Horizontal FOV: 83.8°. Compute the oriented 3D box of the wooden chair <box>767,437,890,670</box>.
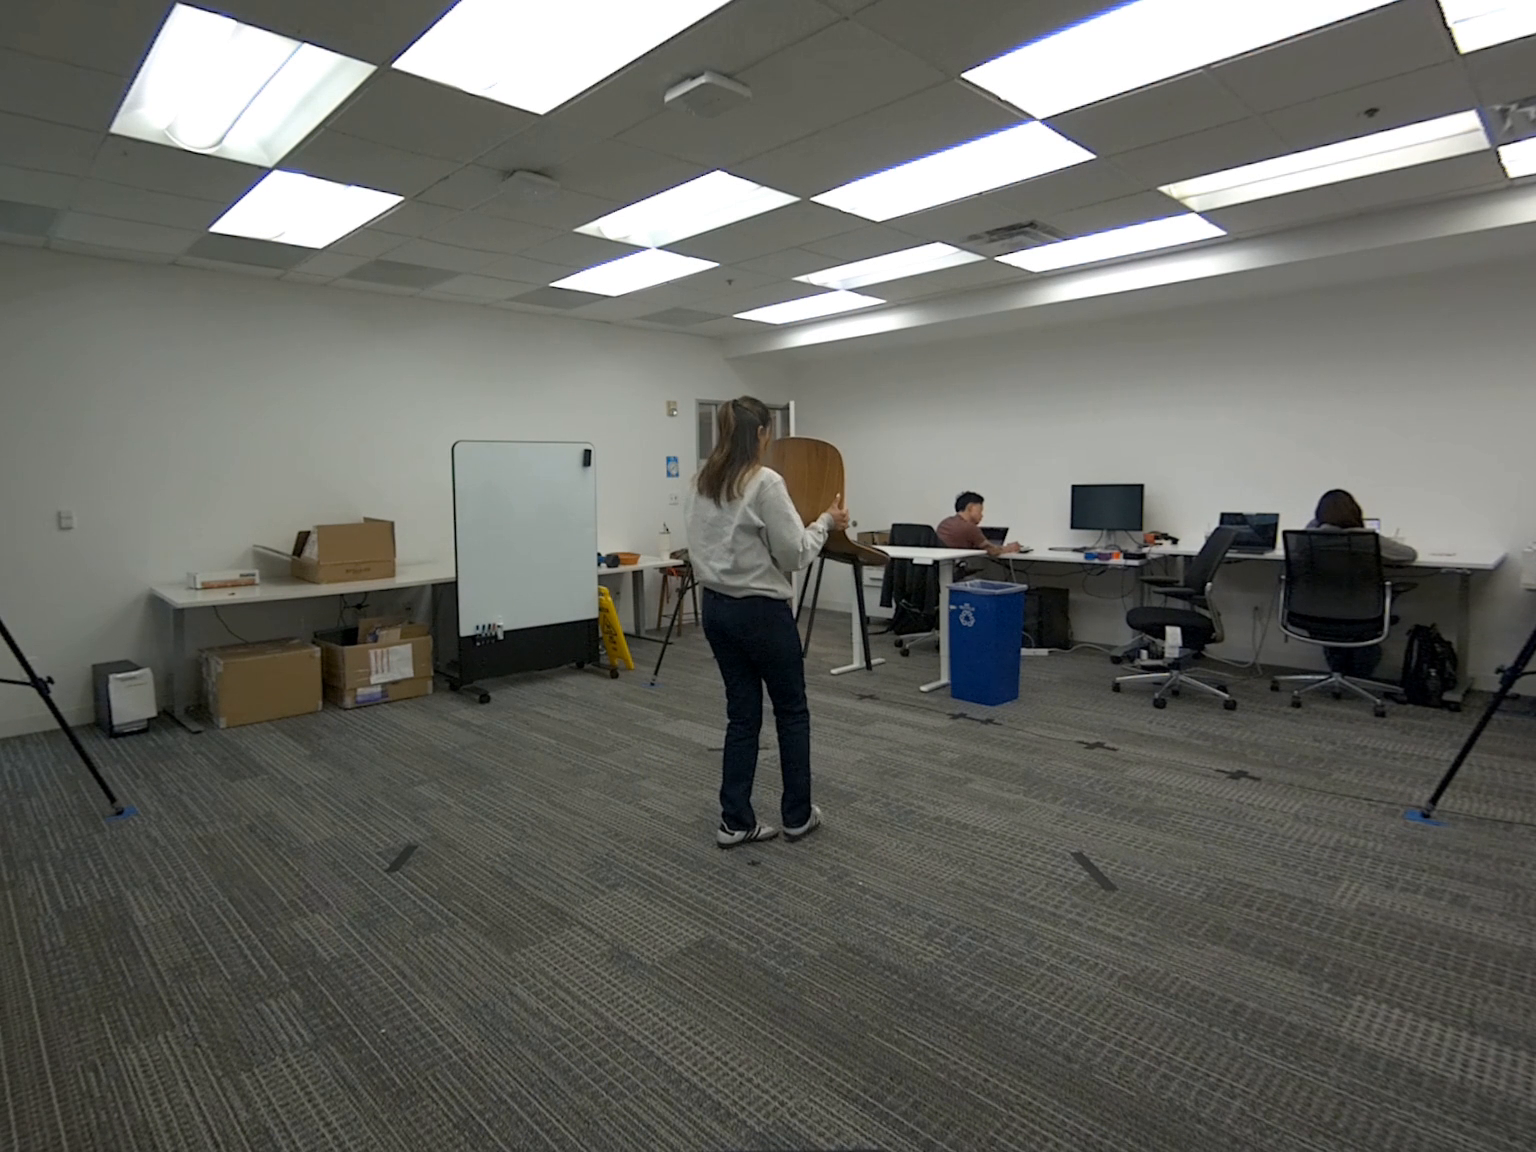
[{"bbox_3d":[0.200,-0.086,3.539,0.493,0.879,0.506,6,-3,42],"label":"wooden chair"}]
